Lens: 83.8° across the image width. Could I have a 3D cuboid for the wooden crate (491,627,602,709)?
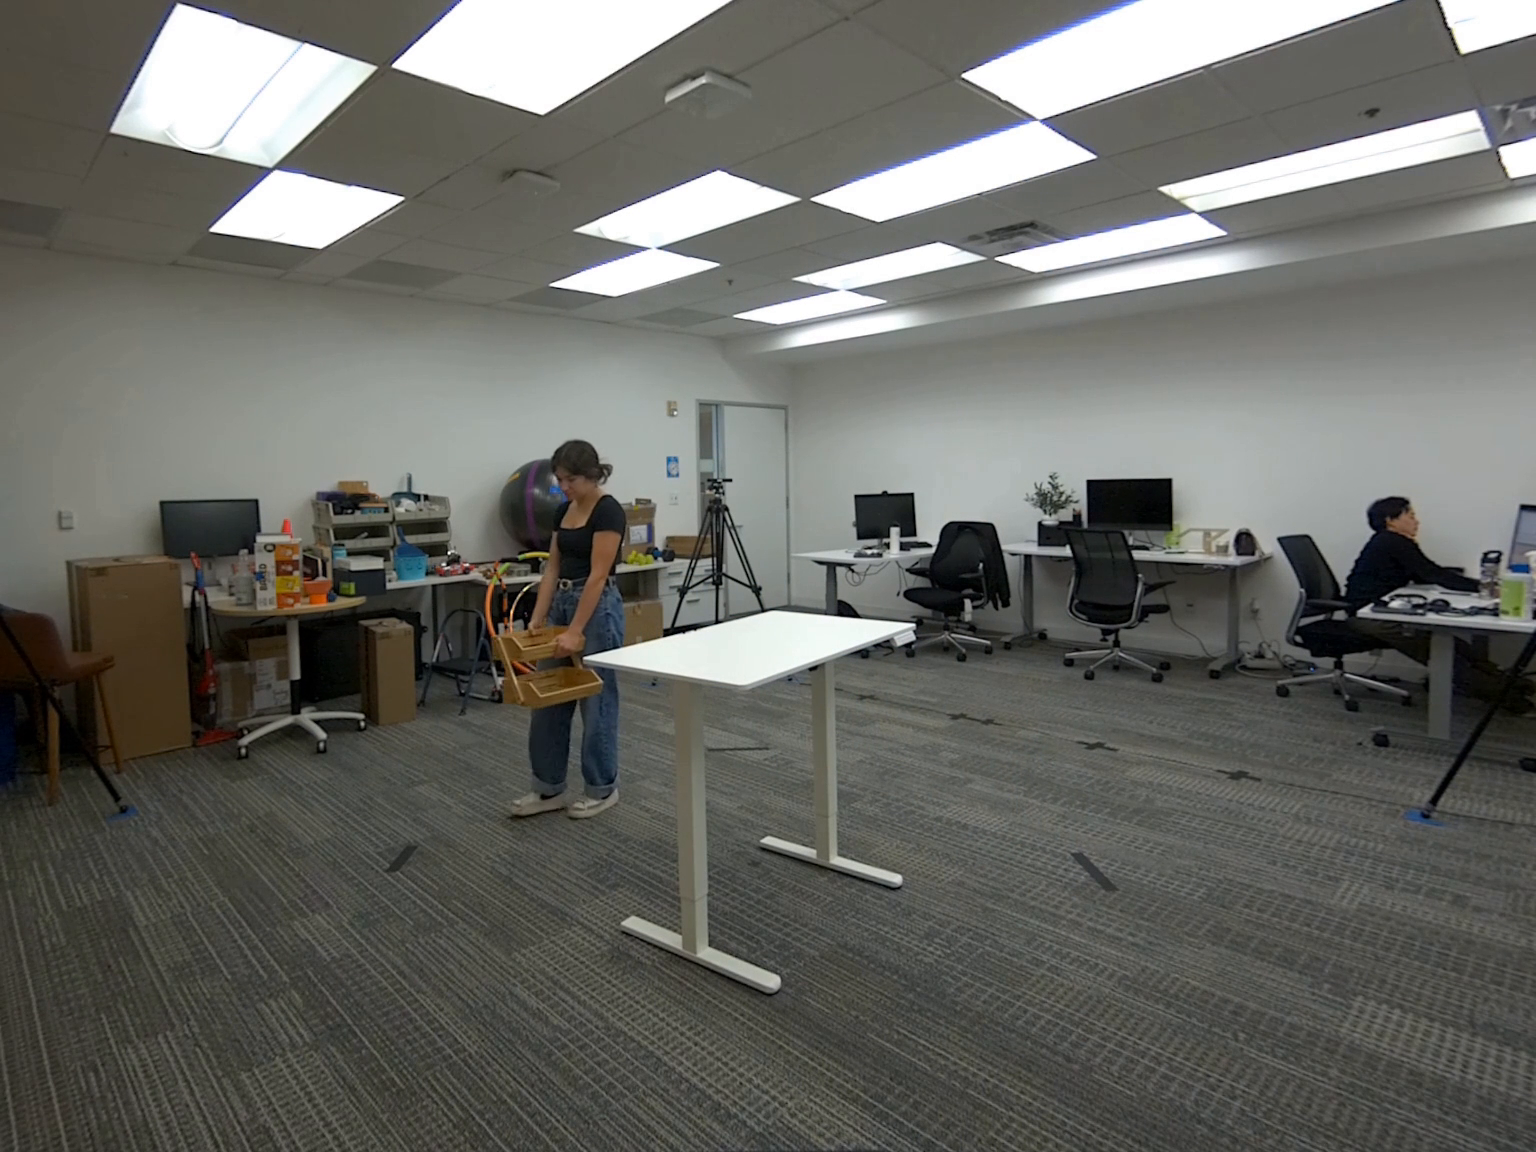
[{"bbox_3d":[-0.871,0.347,3.365,0.310,0.273,0.316,-3,2,41],"label":"wooden crate"}]
